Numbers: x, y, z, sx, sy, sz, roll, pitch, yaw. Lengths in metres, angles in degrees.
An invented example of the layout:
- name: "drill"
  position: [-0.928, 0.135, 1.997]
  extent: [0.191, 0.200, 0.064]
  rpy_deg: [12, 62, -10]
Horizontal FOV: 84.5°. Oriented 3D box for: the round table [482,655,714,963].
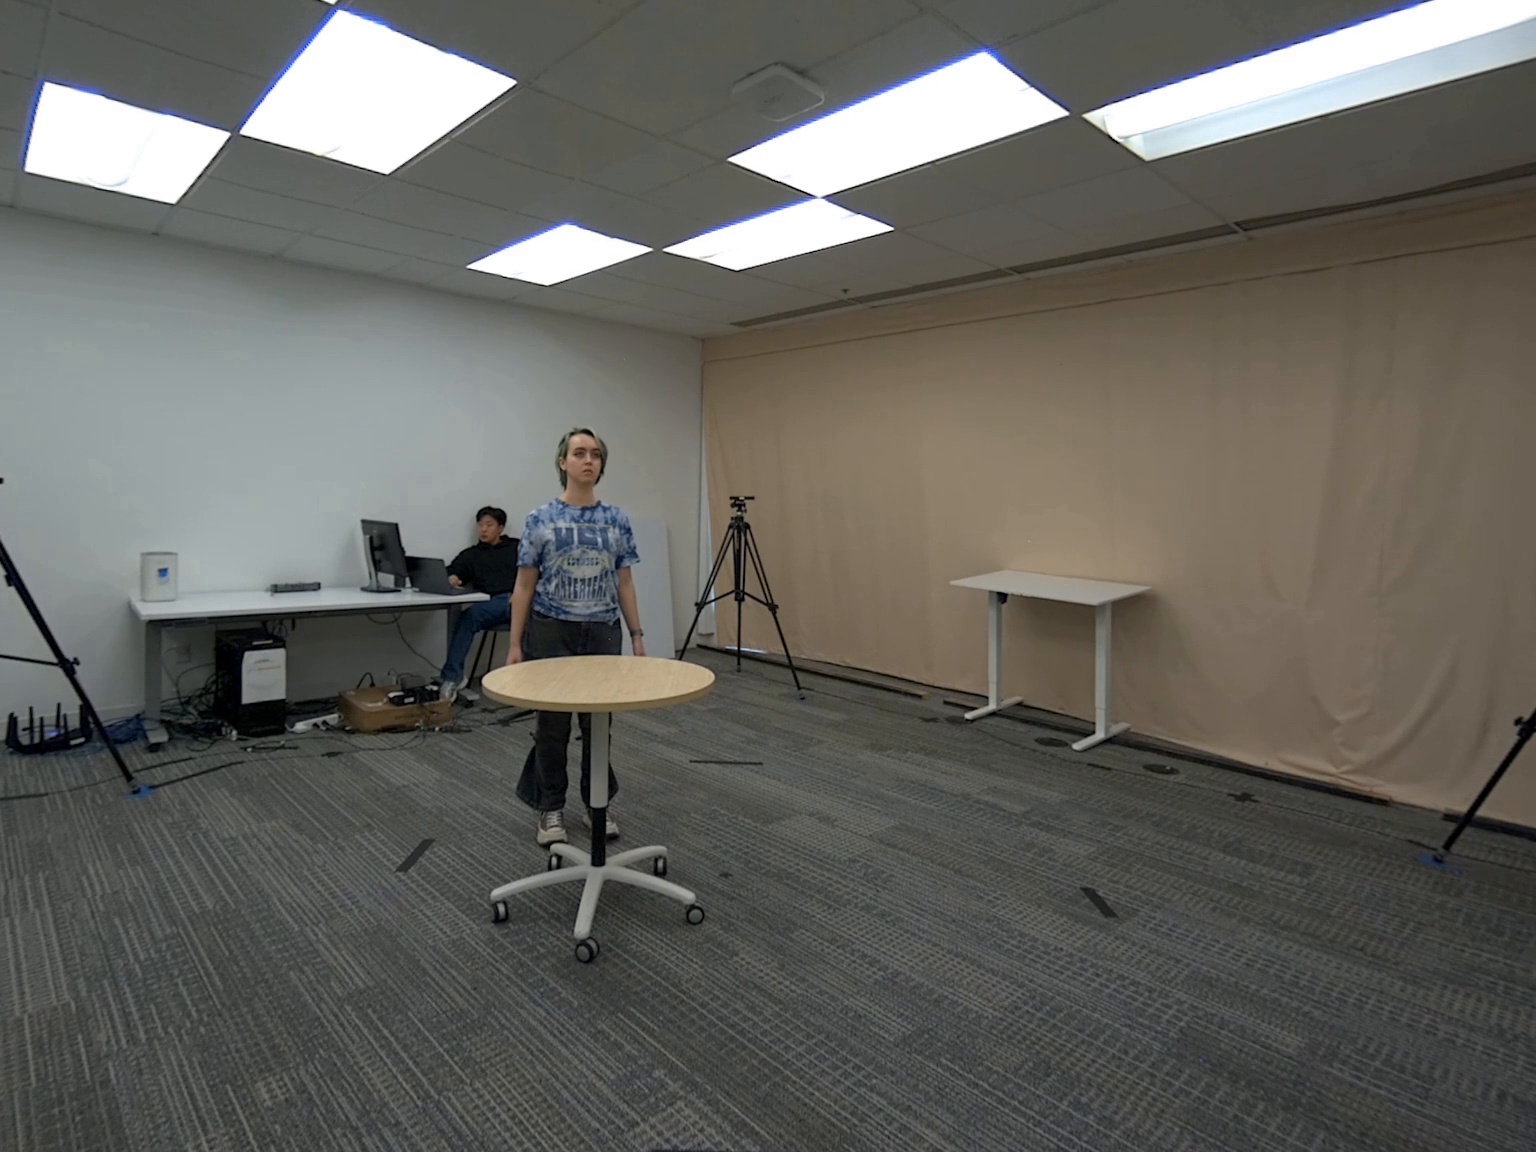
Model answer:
- name: "round table"
  position: [-0.565, 0.731, 2.832]
  extent: [0.763, 0.792, 0.766]
  rpy_deg: [1, 4, -1]
